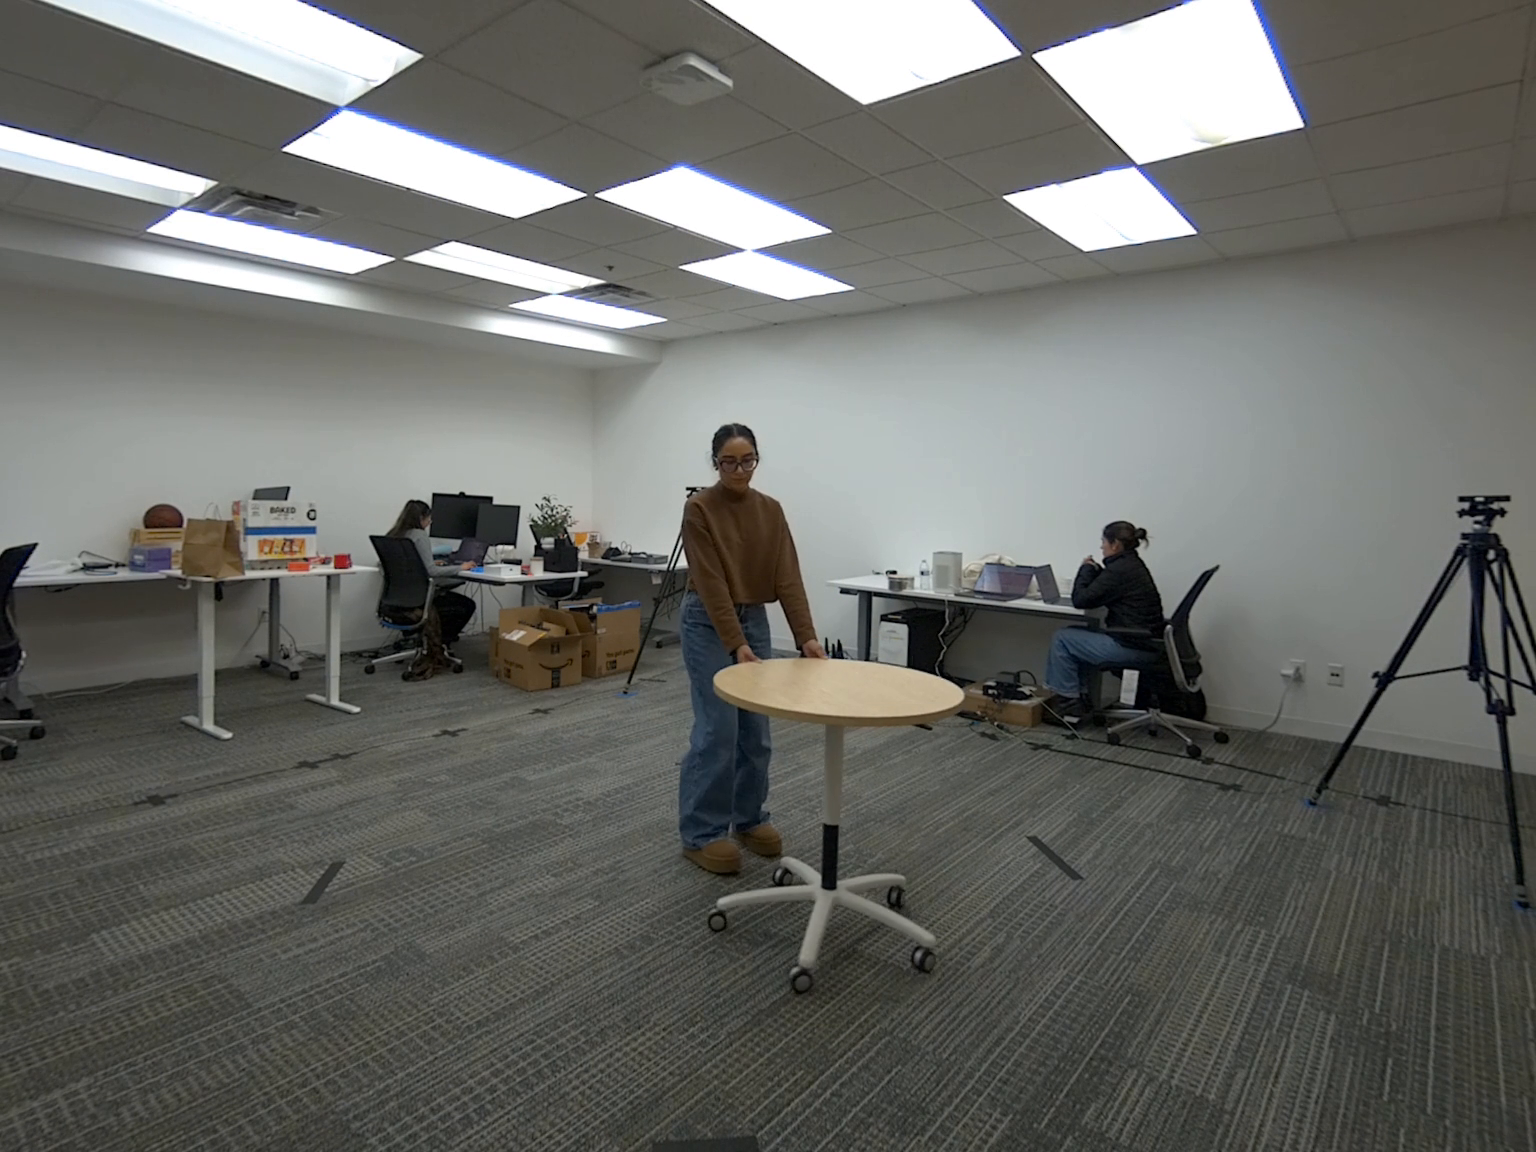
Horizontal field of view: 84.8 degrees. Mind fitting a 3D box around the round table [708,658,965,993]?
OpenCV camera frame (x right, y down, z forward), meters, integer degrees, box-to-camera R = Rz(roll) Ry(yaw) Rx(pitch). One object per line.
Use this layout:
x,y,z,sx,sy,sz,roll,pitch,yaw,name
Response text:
0.173,0.720,2.671,0.784,0.784,0.789,2,4,-2,round table
